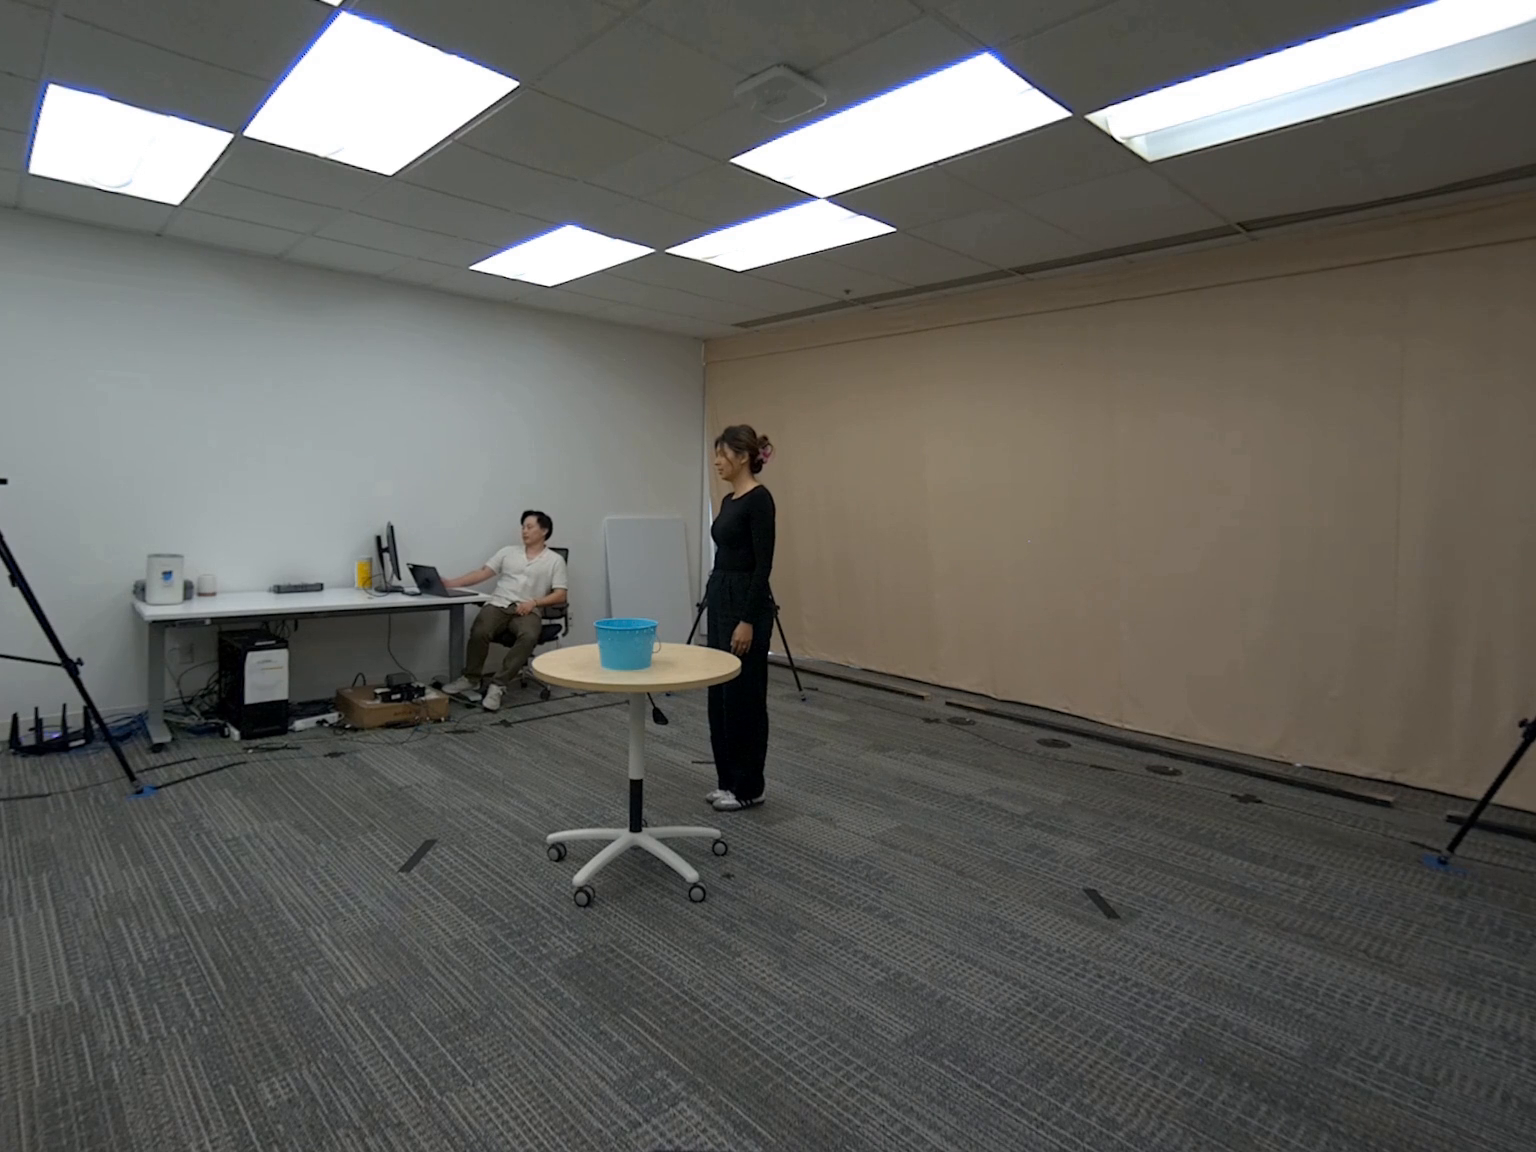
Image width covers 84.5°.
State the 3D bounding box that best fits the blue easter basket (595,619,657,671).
[{"bbox_3d":[-0.517,0.251,3.038,0.243,0.155,0.244,0,5,-1],"label":"blue easter basket"}]
